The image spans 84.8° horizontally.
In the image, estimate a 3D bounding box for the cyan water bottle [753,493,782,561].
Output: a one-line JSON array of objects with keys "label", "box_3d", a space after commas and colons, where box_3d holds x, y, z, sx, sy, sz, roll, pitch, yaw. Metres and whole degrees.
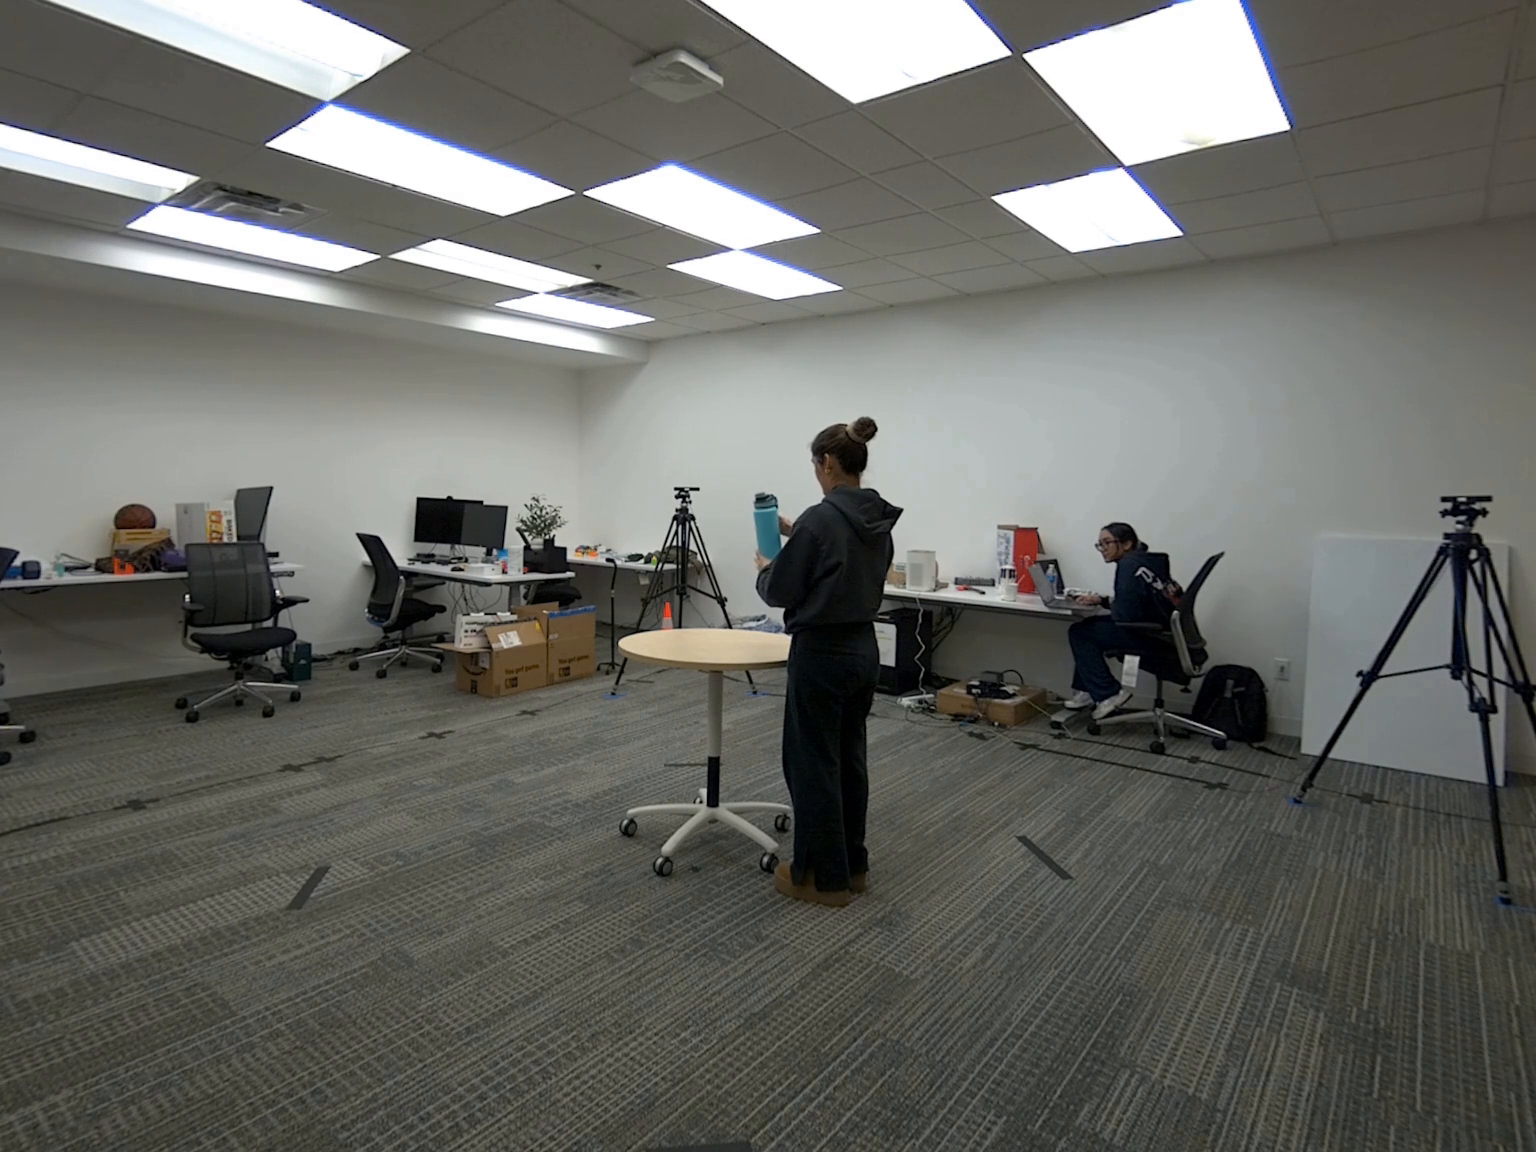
[{"label": "cyan water bottle", "box_3d": [-0.003, -0.177, 3.165, 0.092, 0.281, 0.093, -6, 8, -1]}]
